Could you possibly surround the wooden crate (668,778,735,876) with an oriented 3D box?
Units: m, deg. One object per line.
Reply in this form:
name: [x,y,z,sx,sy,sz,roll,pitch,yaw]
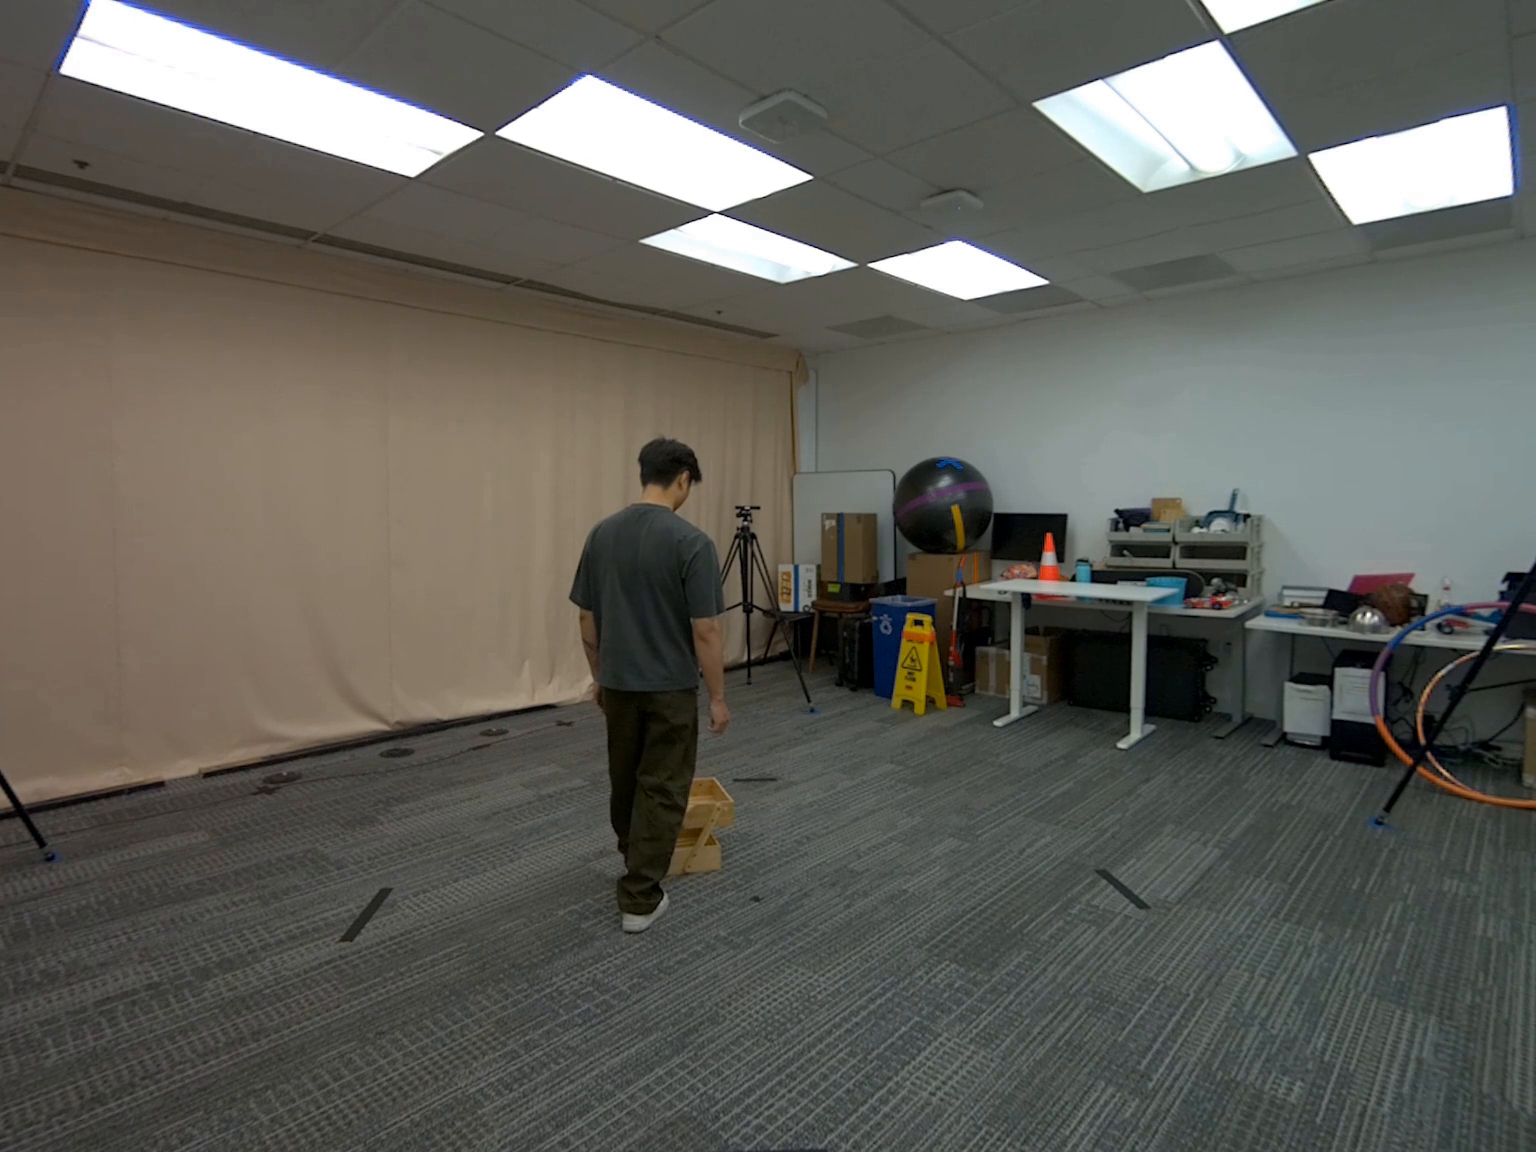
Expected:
wooden crate: [-0.323,0.980,3.341,0.297,0.273,0.330,-2,4,-16]
